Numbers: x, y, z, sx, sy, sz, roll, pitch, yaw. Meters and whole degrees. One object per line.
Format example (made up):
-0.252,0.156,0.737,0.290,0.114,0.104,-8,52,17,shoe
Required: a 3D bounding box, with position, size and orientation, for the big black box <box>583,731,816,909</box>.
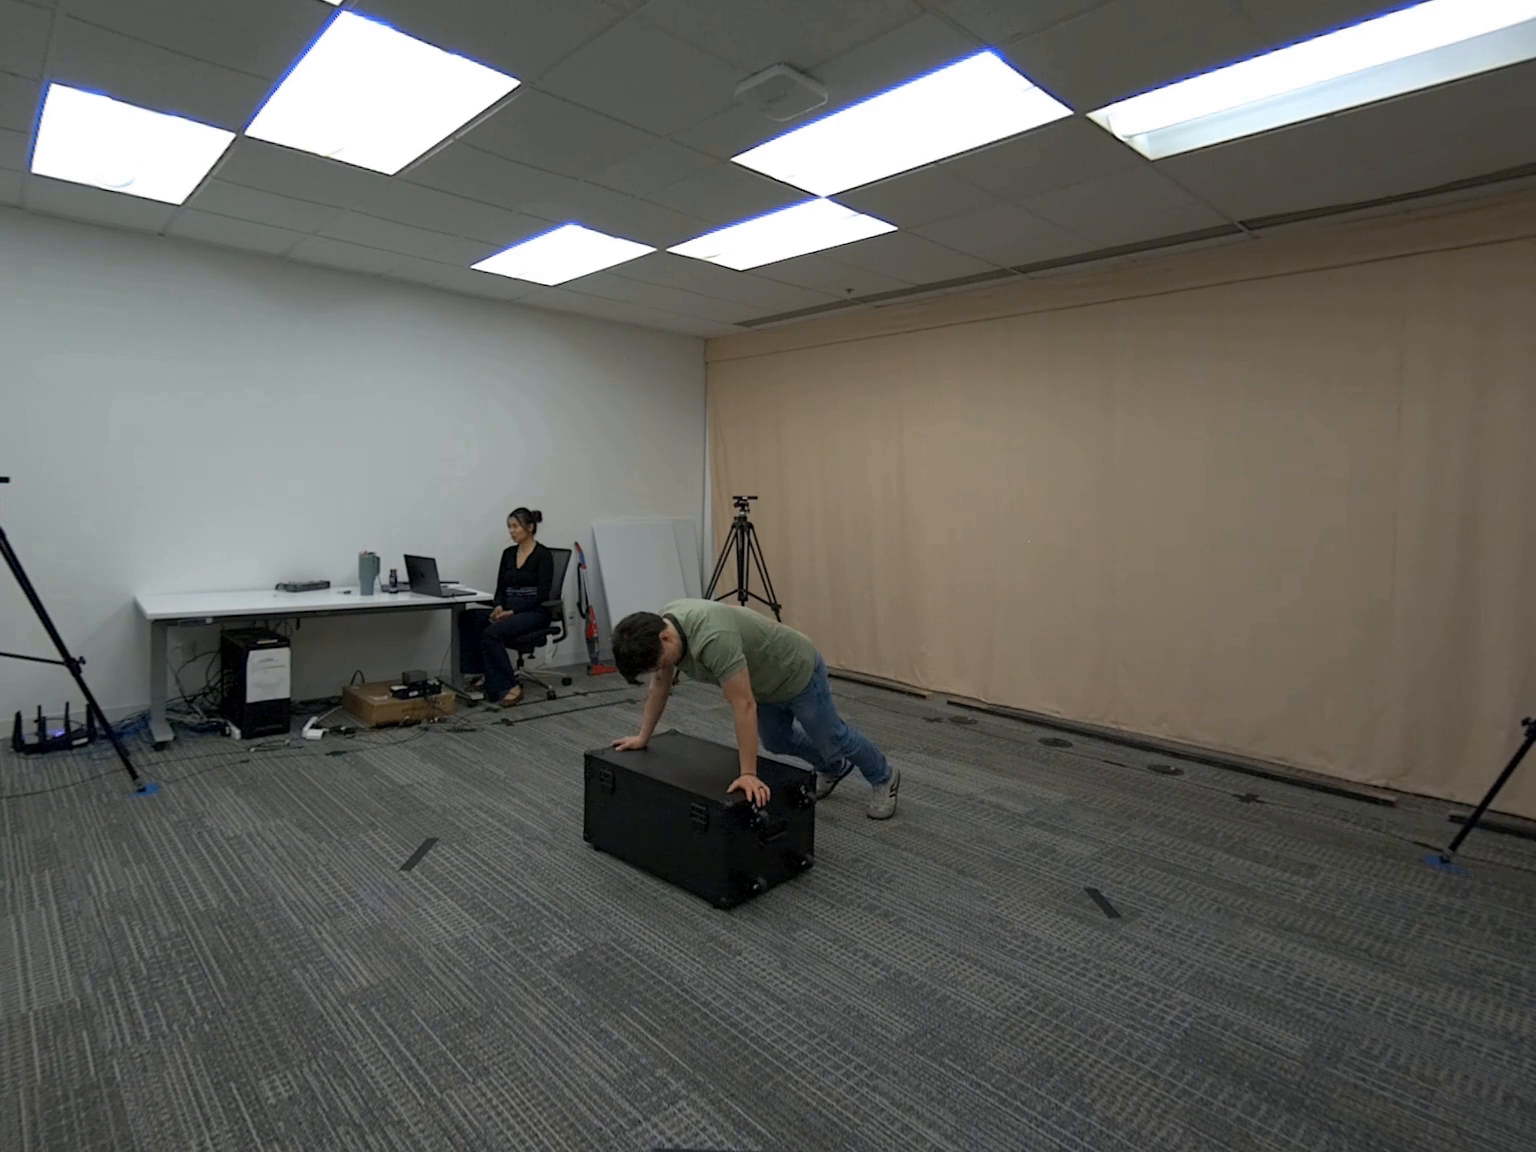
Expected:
-0.256,0.904,3.201,0.883,0.395,0.509,5,6,41,big black box
